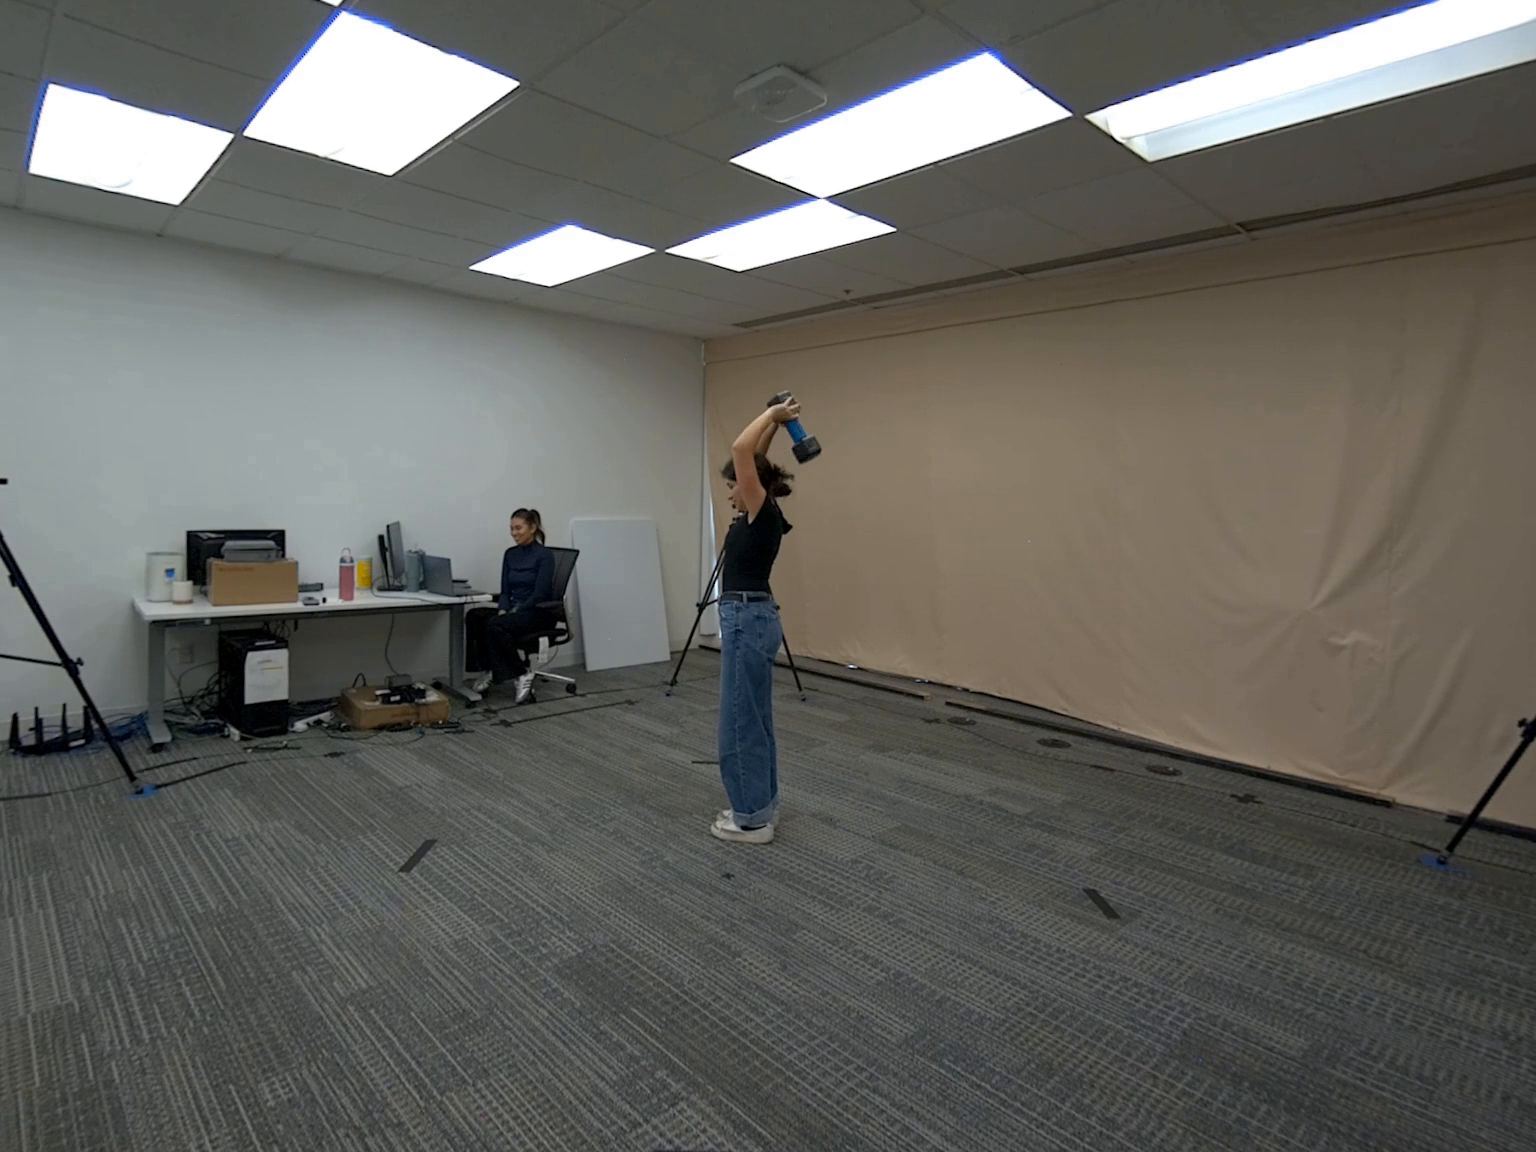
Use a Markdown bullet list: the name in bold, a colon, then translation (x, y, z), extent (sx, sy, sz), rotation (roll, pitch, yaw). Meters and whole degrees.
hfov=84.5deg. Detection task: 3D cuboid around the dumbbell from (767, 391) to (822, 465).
- **dumbbell**: translation (0.099, -0.604, 3.448), extent (0.124, 0.296, 0.107), rotation (-35, -10, 33)
